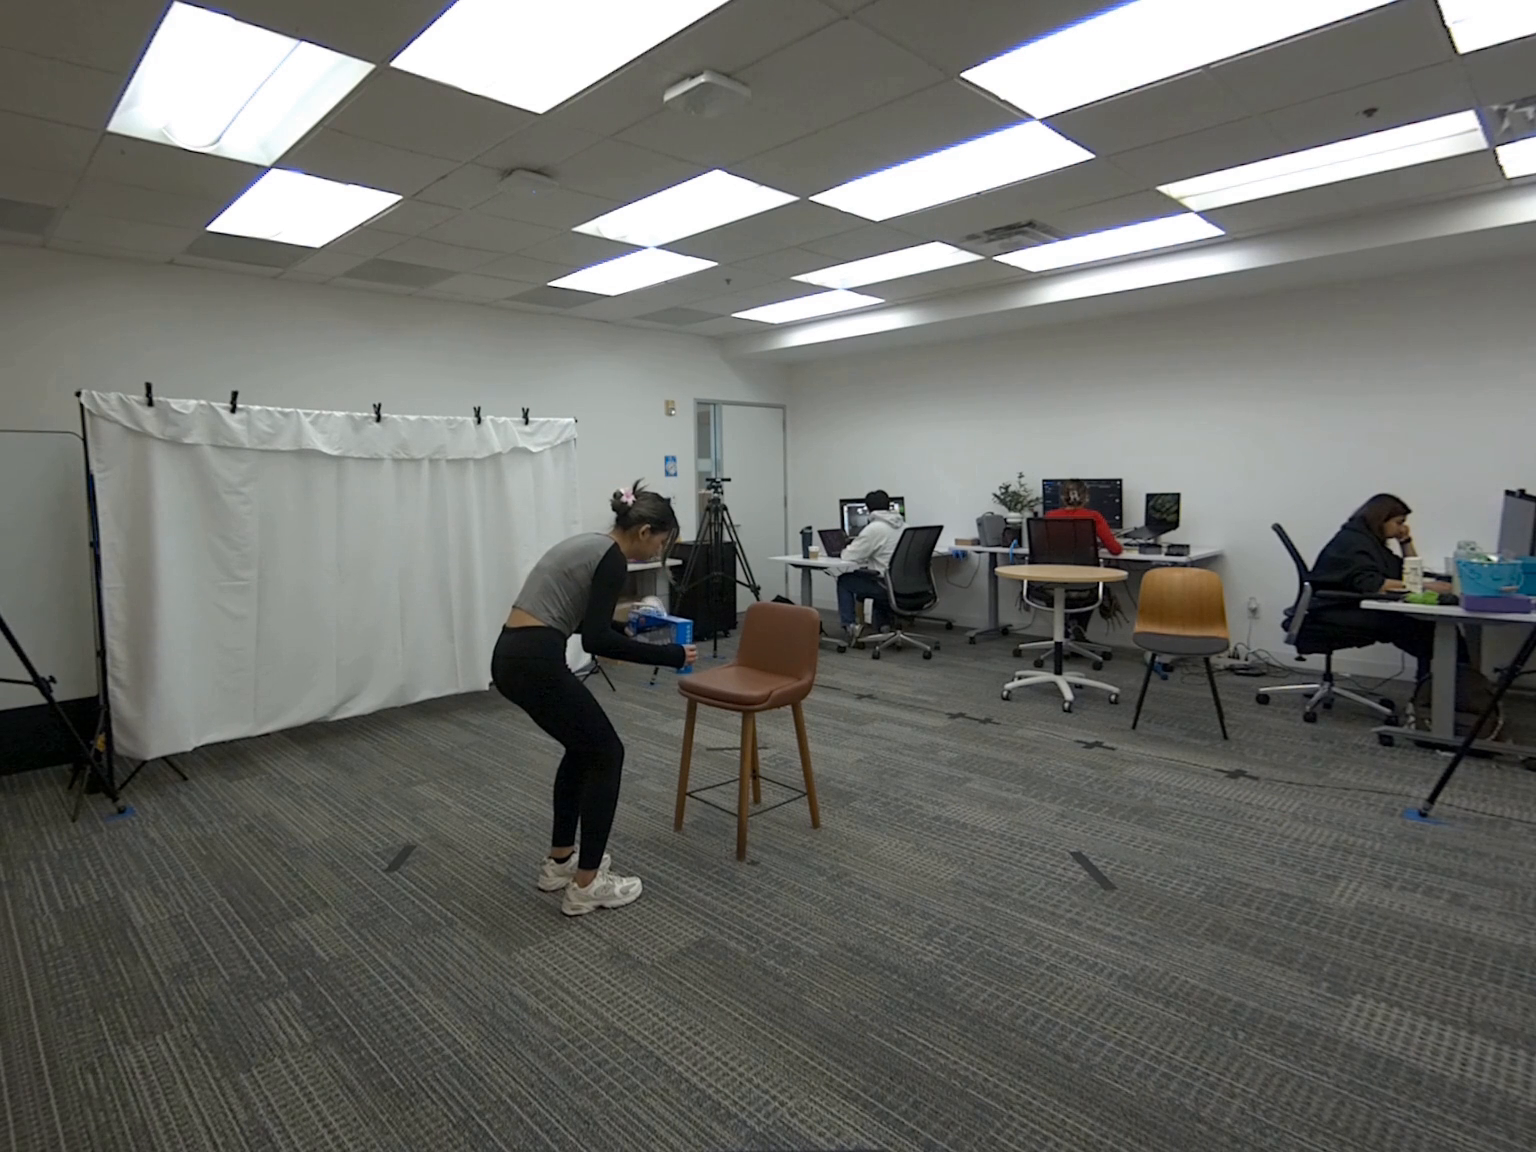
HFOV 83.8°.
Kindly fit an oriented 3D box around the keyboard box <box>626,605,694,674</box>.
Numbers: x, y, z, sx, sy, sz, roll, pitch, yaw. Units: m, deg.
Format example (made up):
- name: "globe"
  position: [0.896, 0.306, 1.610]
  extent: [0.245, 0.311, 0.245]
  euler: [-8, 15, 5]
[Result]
- name: "keyboard box"
  position: [-0.385, 0.225, 2.996]
  extent: [0.057, 0.176, 0.448]
  euler: [1, 2, -30]
